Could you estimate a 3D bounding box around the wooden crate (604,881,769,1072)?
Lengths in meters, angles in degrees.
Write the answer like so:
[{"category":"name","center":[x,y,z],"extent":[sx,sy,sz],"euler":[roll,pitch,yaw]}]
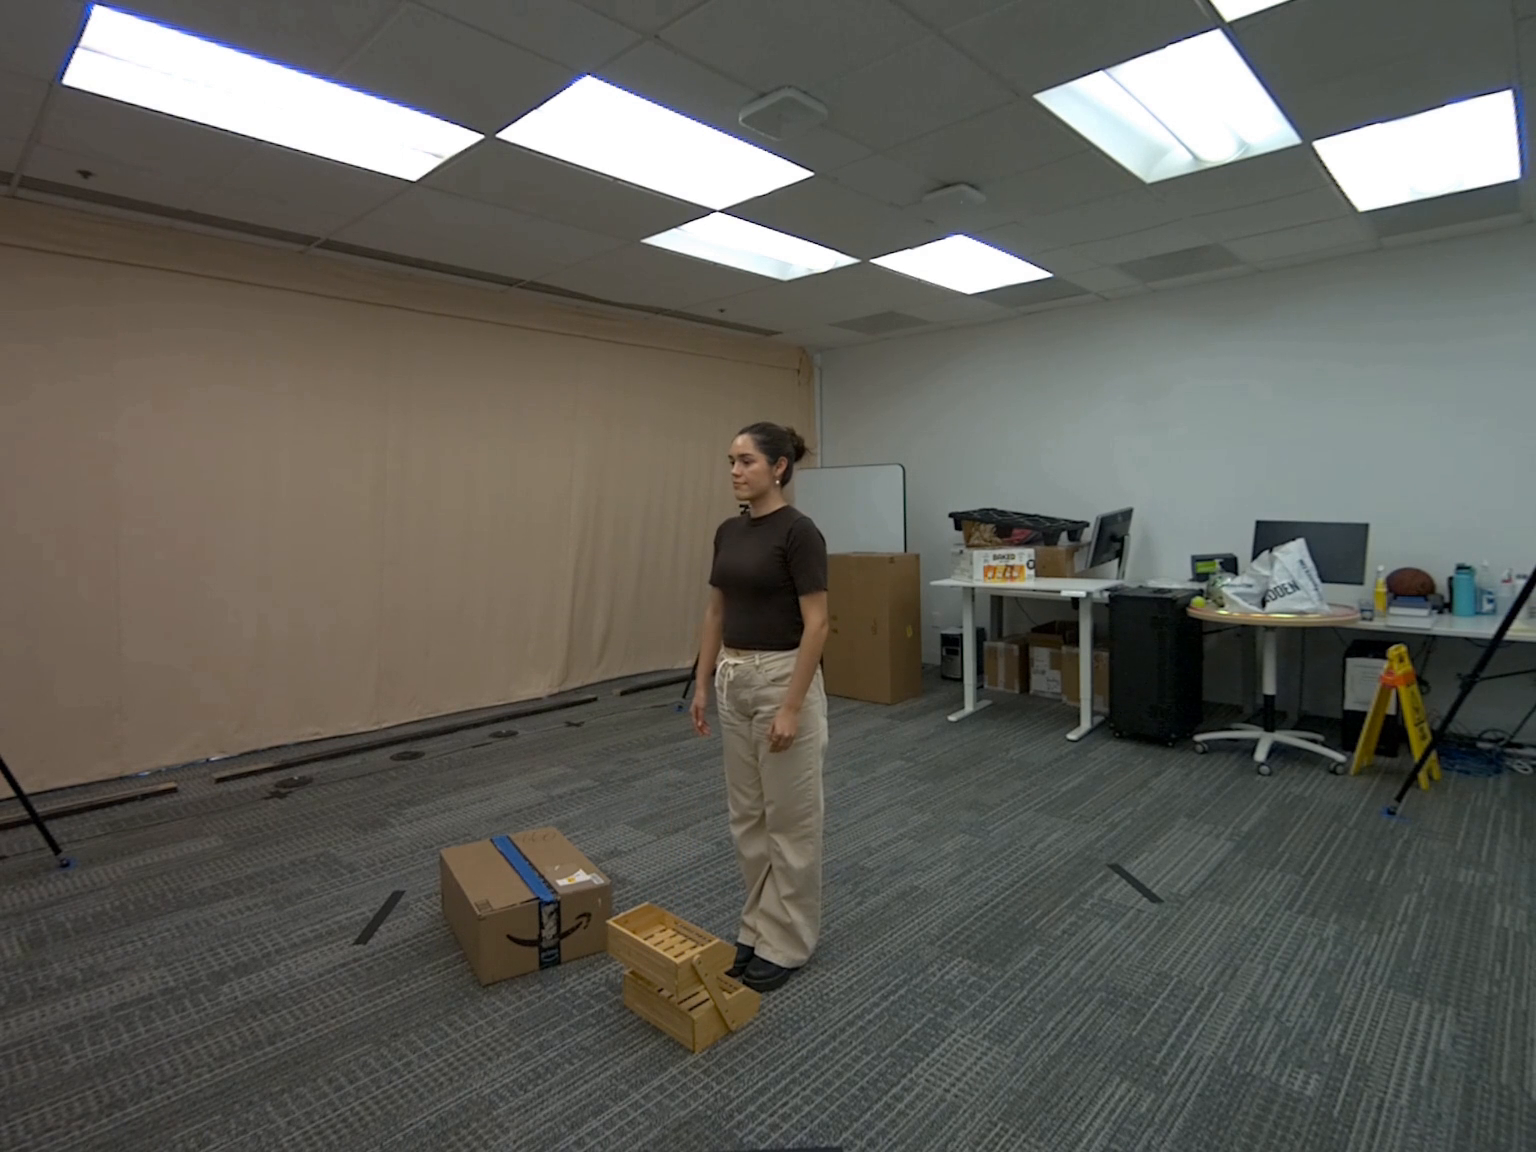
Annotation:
[{"category":"wooden crate","center":[-0.224,1.064,2.306],"extent":[0.335,0.272,0.293],"euler":[4,7,45]}]
